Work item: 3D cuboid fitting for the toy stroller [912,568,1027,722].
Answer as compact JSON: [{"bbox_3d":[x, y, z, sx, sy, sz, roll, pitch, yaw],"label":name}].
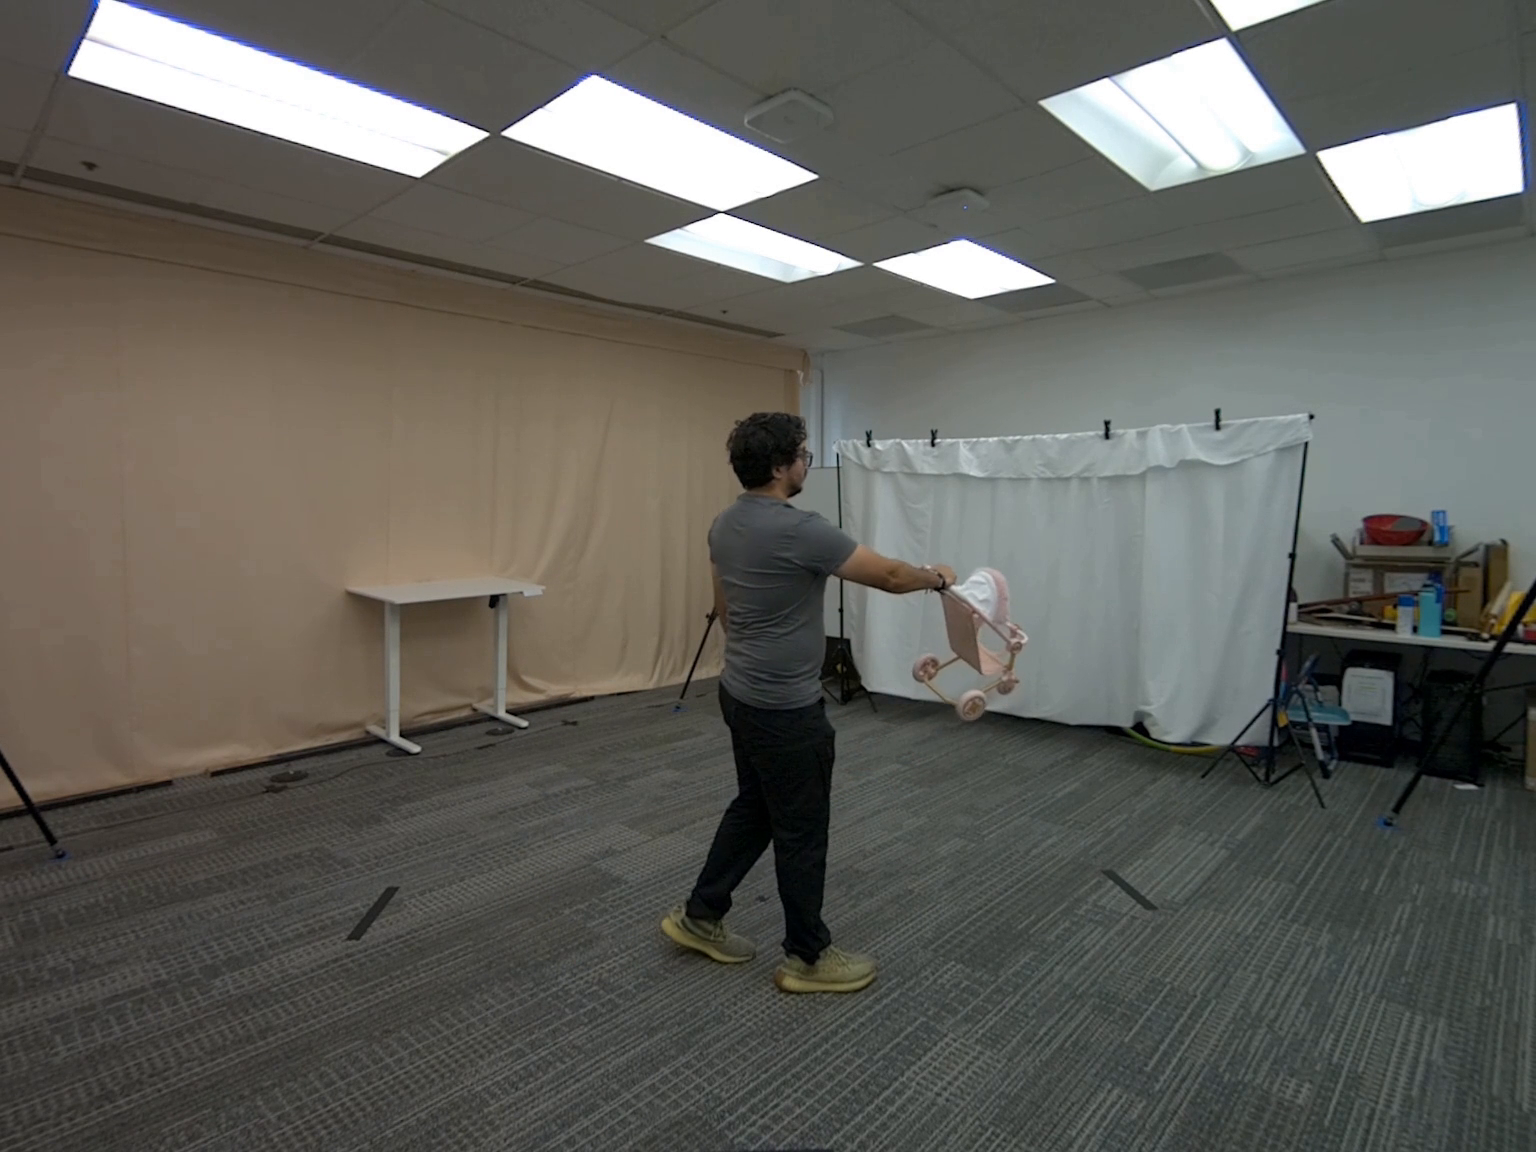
[{"bbox_3d":[0.689,0.202,2.771,0.336,0.527,0.290,-12,25,-16],"label":"toy stroller"}]
